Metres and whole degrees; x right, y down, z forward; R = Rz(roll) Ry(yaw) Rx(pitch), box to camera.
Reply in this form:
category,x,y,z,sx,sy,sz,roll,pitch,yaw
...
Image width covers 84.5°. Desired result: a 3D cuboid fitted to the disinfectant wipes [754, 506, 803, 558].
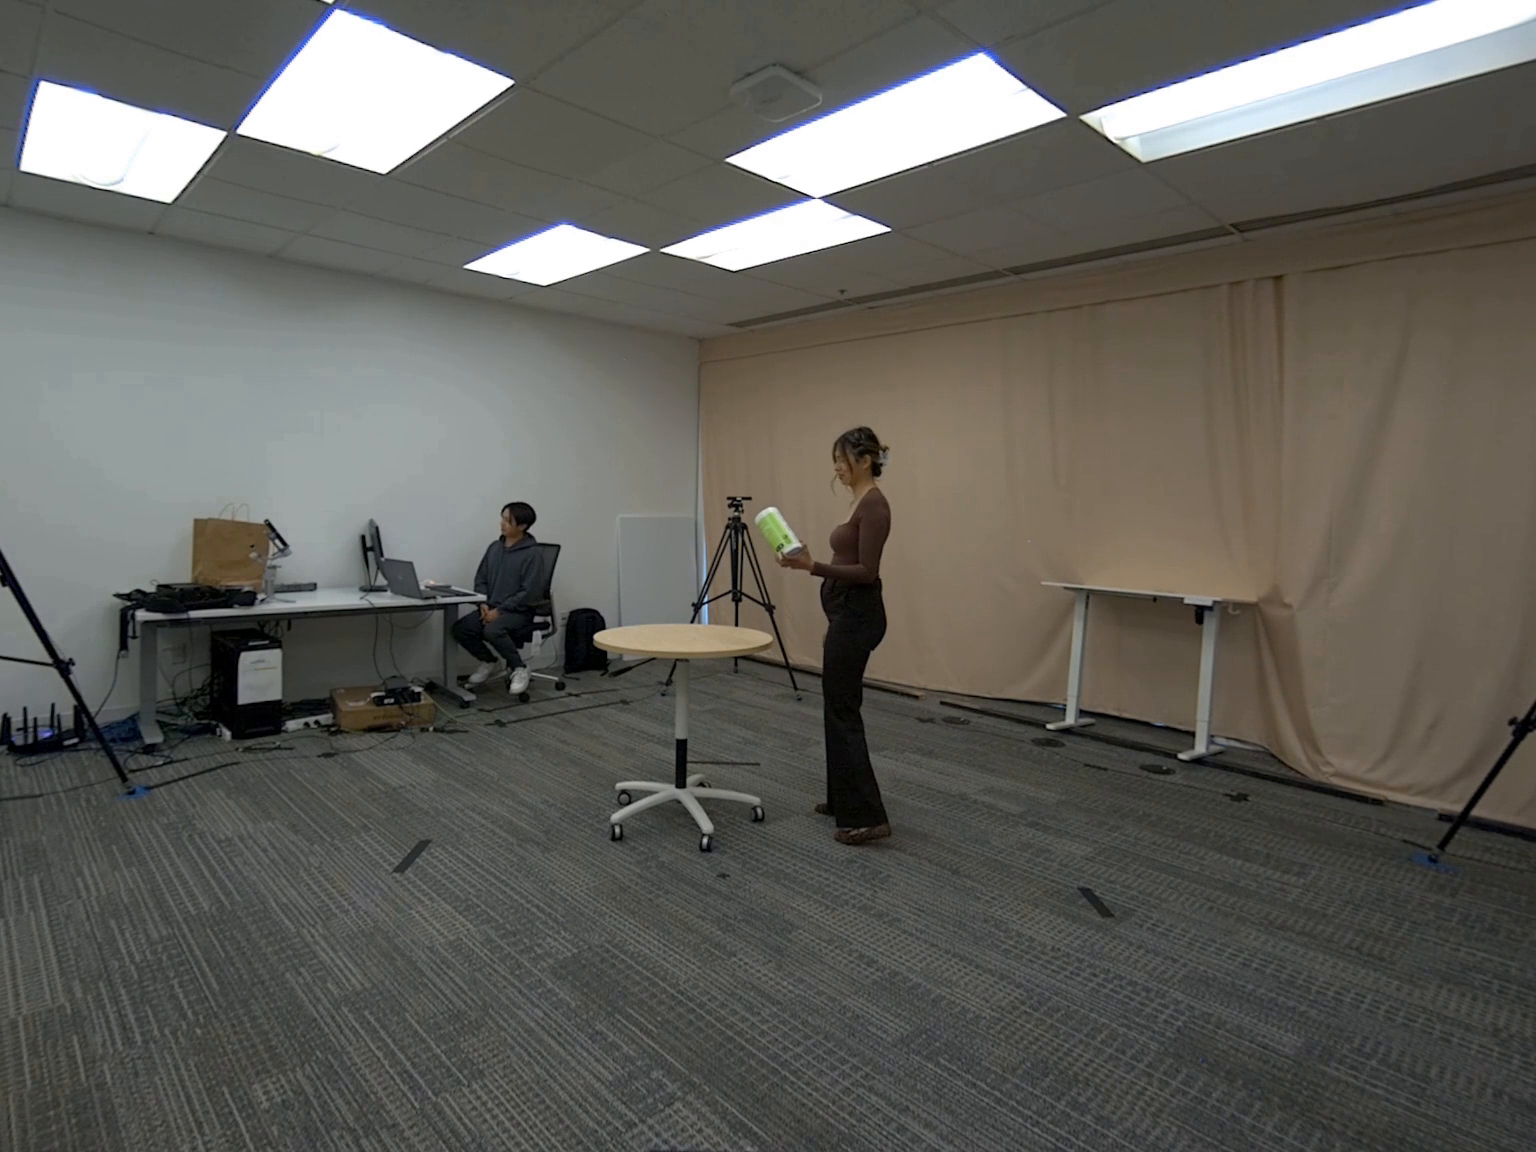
category,x,y,z,sx,sy,sz,roll,pitch,yaw
disinfectant wipes,0.041,-0.165,3.419,0.117,0.222,0.116,-27,-22,-13
